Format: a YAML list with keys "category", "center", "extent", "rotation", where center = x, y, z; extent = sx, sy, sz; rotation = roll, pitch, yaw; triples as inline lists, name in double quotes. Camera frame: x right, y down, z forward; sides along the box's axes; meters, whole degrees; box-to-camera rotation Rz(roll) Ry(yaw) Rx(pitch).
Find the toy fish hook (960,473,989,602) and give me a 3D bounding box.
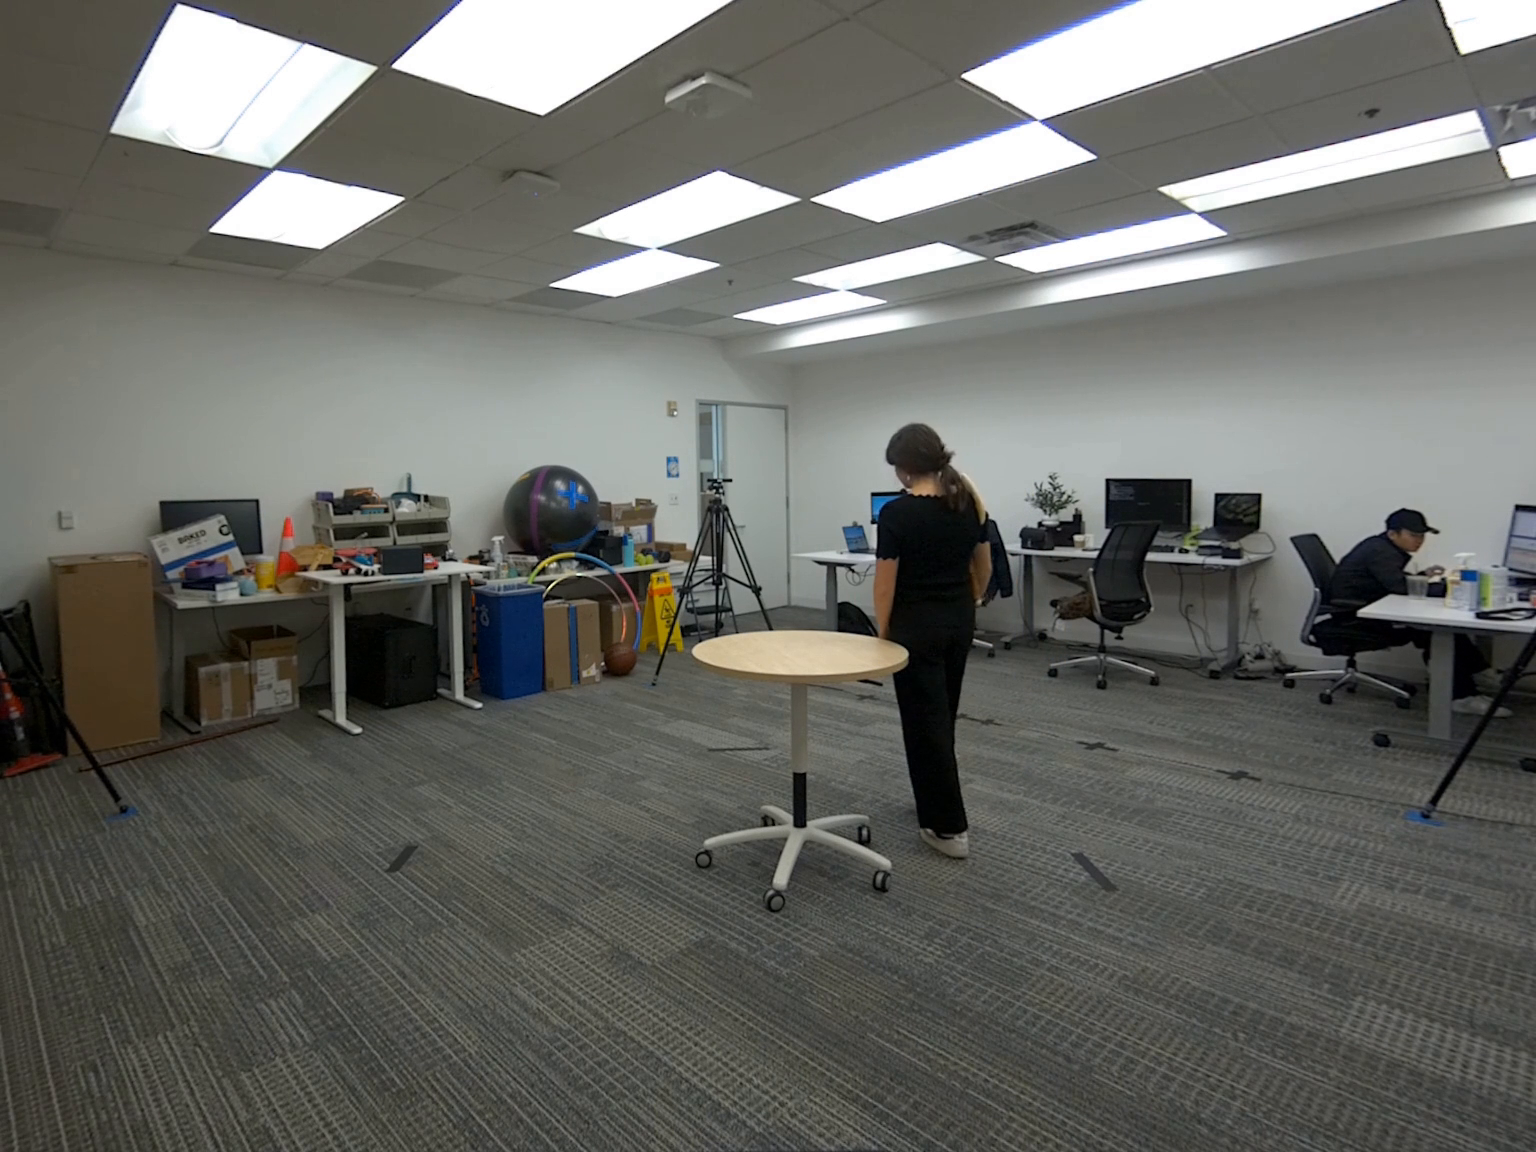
- category: "toy fish hook"
  center: [0.756, -0.130, 3.194]
  extent: [0.047, 0.506, 0.228]
  rotation: [-13, 2, -21]
